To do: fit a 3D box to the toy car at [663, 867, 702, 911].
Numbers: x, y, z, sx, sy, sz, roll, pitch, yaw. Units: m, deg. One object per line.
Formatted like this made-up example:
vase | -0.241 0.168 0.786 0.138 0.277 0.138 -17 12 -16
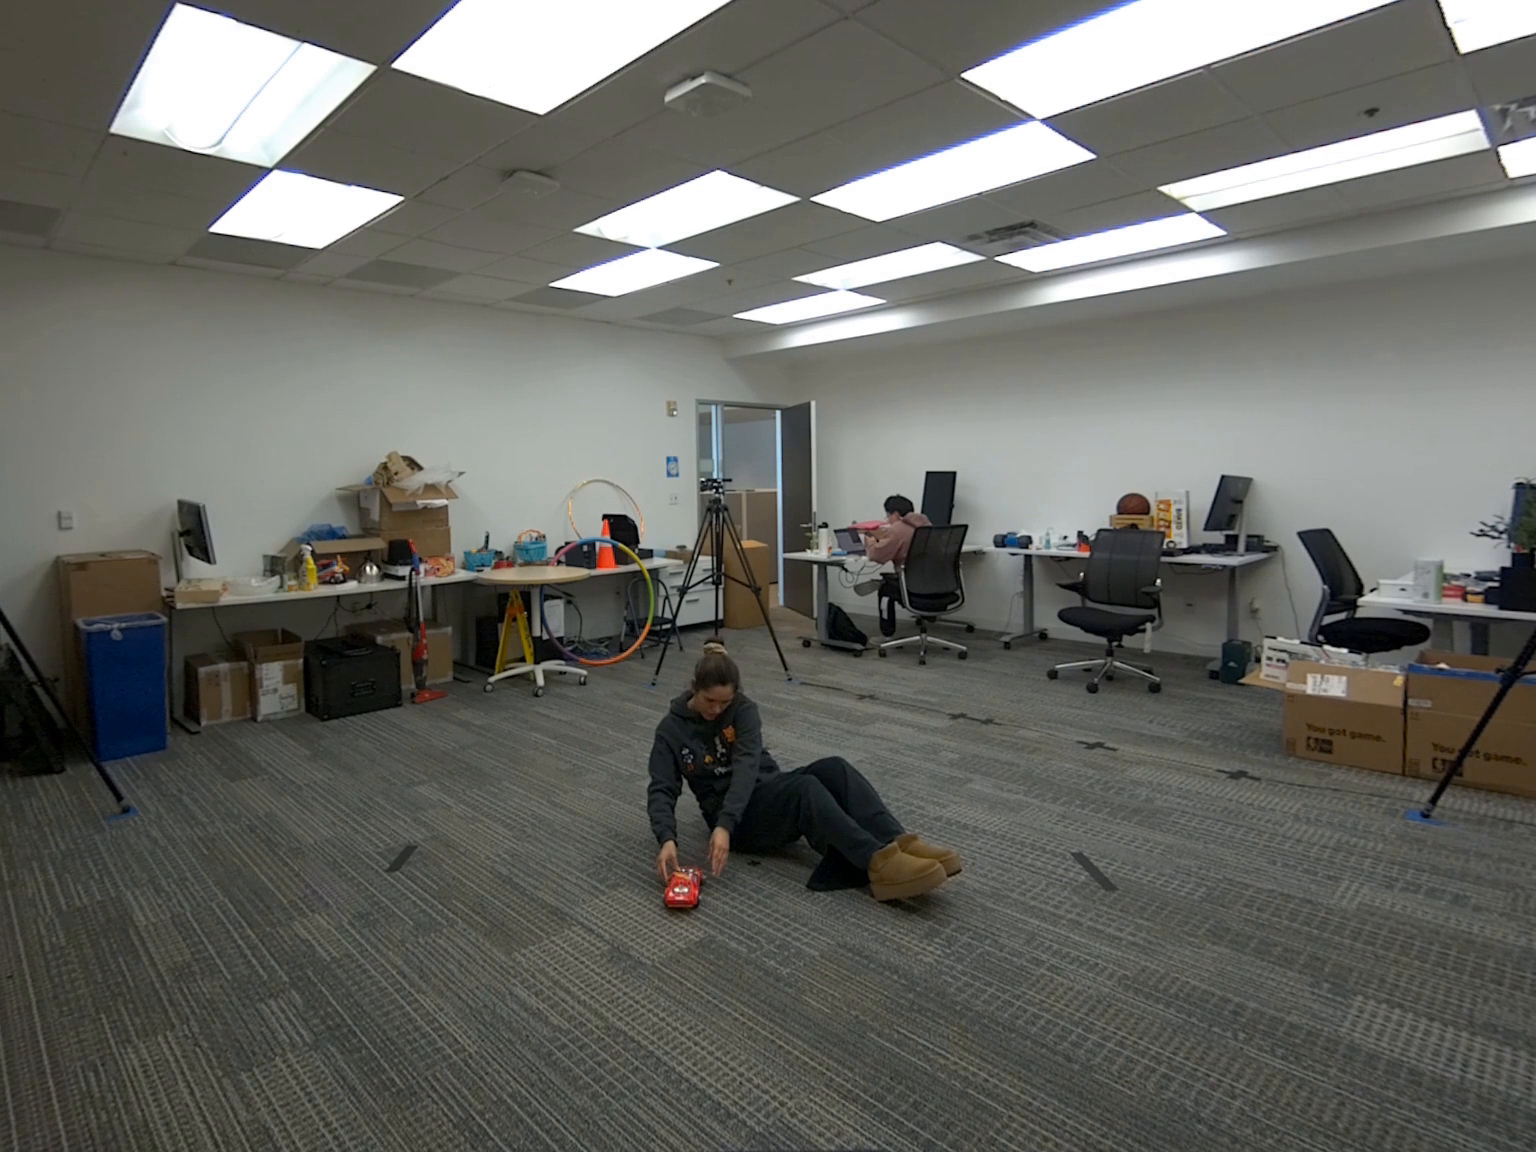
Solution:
toy car | -0.282 1.048 2.841 0.131 0.084 0.252 0 -6 3
